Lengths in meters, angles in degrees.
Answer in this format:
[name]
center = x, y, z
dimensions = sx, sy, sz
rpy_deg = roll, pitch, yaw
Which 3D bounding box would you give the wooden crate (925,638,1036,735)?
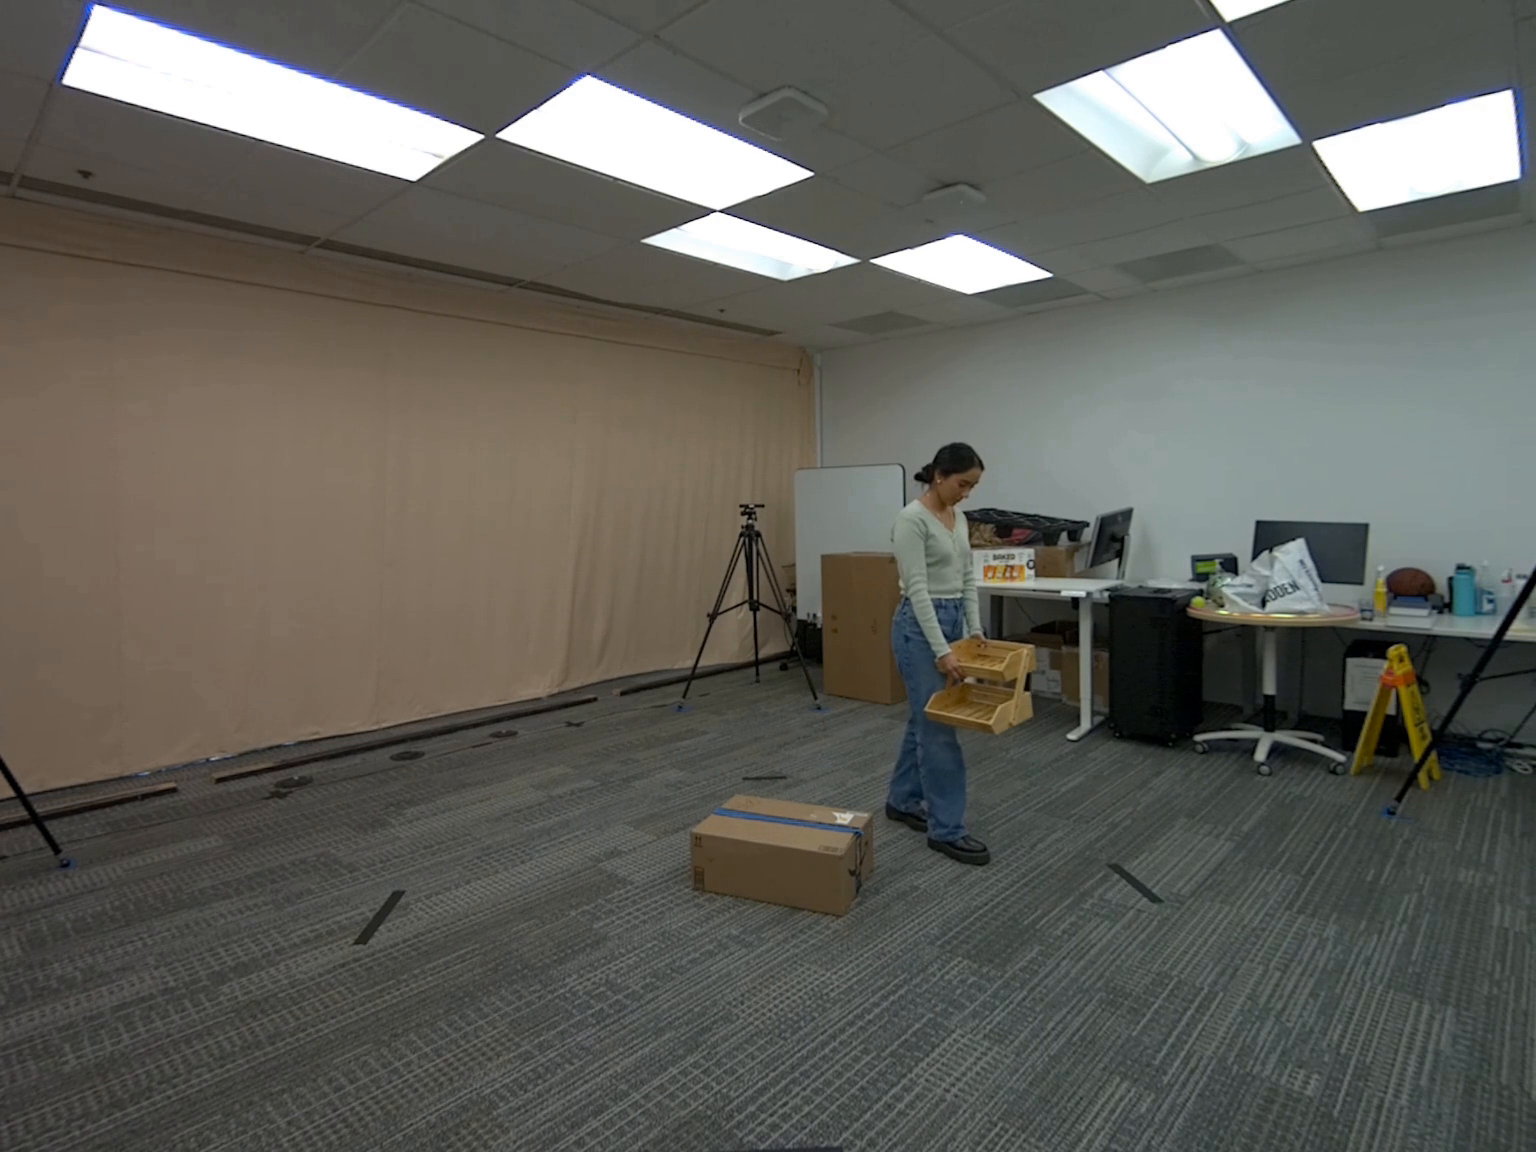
[wooden crate]
center = 0.794, 0.400, 3.174
dimensions = 0.294, 0.272, 0.335
rpy_deg = -12, 9, -36
